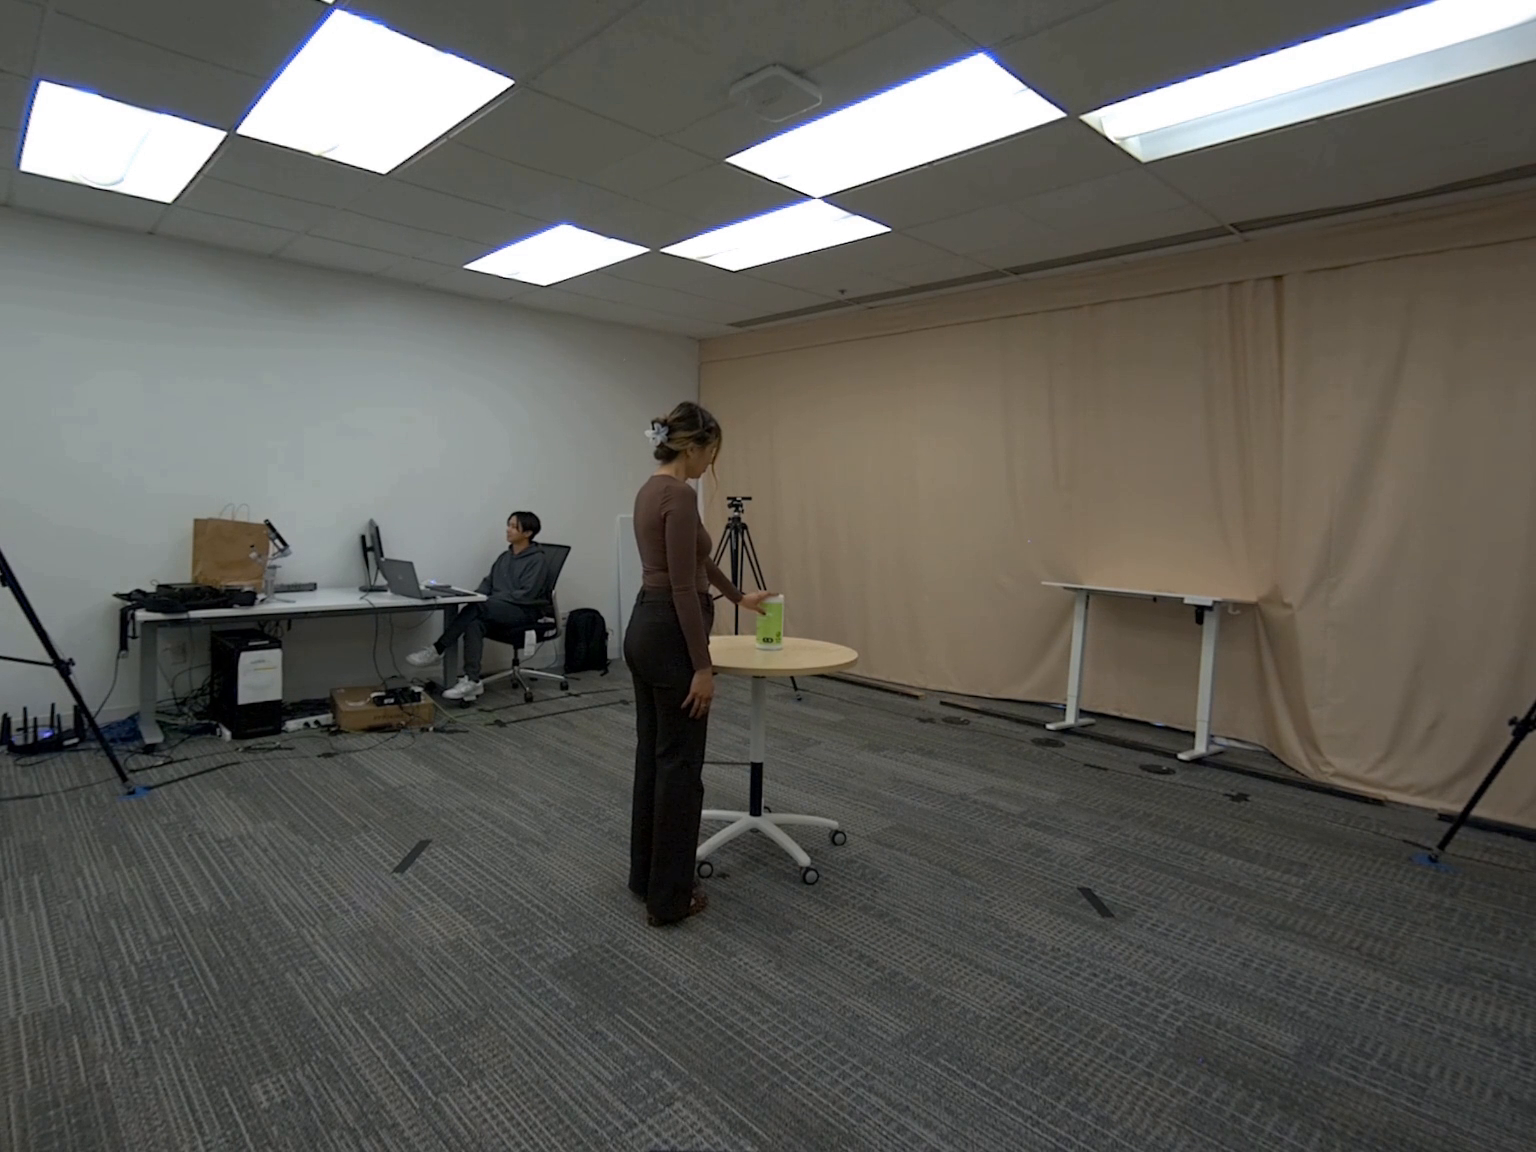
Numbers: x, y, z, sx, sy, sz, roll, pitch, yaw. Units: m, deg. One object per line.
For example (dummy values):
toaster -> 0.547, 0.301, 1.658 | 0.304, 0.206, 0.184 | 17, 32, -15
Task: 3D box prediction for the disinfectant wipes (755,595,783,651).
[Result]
disinfectant wipes -> 0.000, 0.183, 3.368 | 0.118, 0.217, 0.118 | 1, 5, -1
